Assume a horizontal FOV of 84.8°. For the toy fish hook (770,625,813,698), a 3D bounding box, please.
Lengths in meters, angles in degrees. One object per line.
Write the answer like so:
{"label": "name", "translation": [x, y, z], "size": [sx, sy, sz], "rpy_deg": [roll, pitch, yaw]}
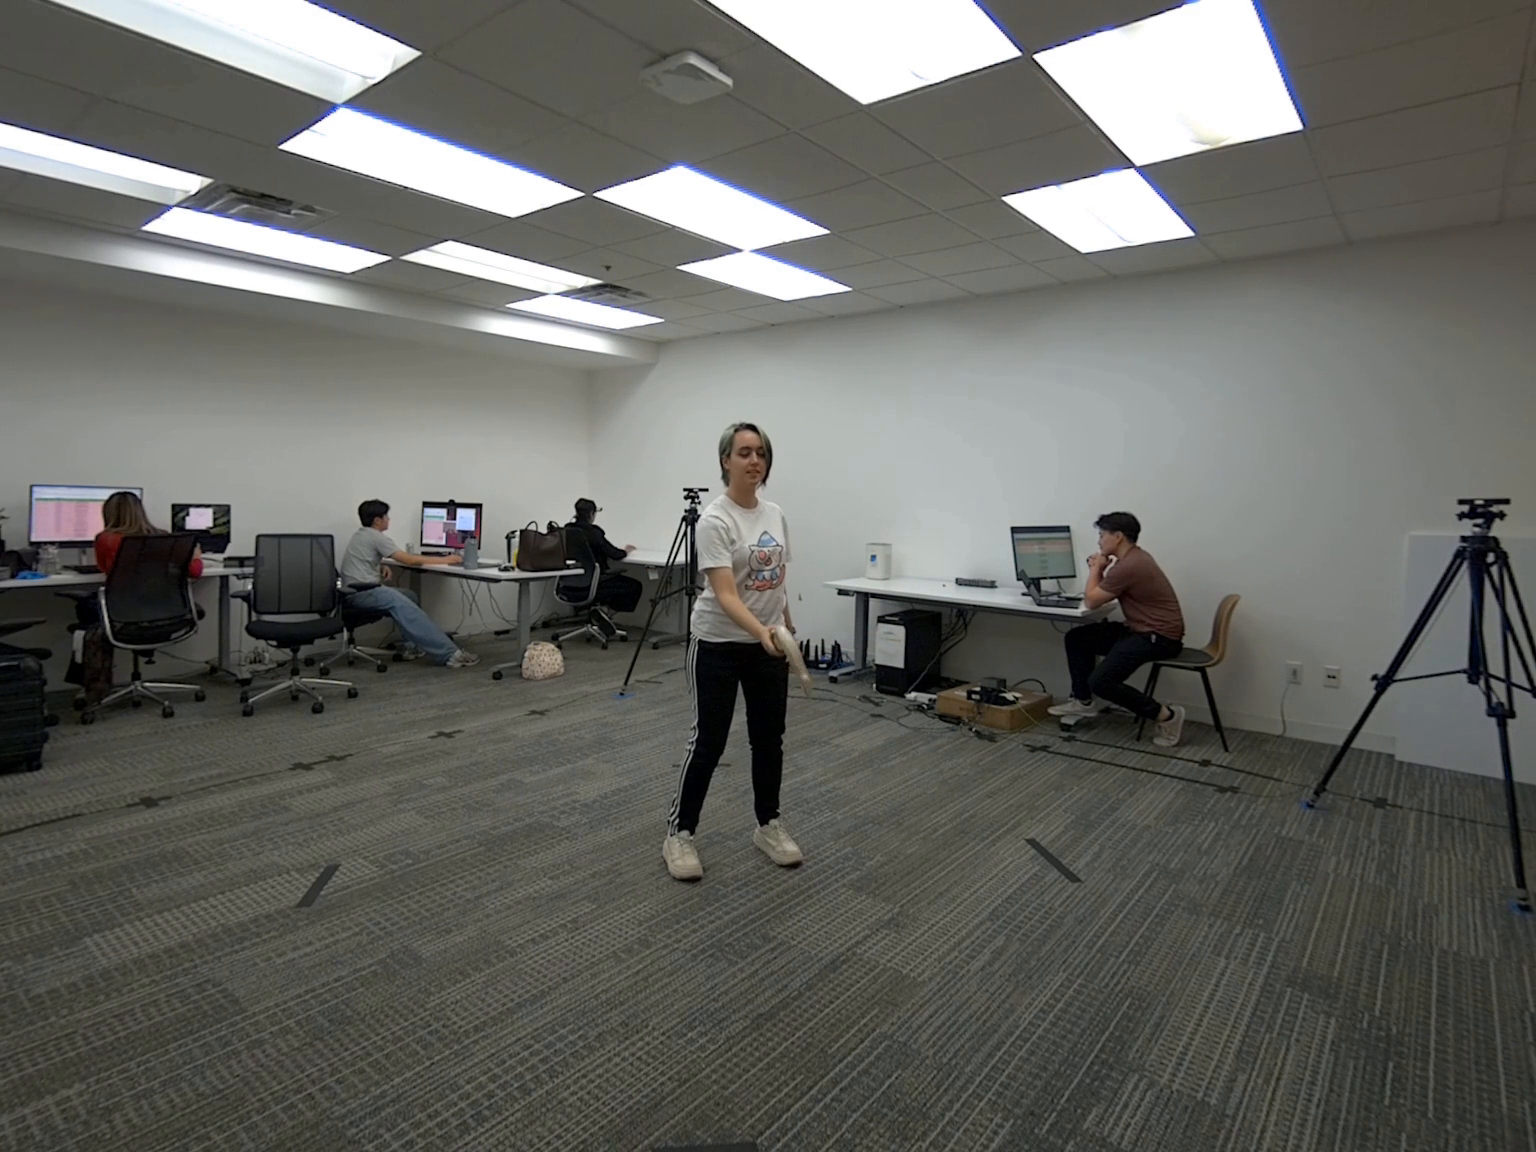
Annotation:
{"label": "toy fish hook", "translation": [0.047, 0.229, 2.545], "size": [0.048, 0.225, 0.506], "rpy_deg": [-19, -1, -5]}
